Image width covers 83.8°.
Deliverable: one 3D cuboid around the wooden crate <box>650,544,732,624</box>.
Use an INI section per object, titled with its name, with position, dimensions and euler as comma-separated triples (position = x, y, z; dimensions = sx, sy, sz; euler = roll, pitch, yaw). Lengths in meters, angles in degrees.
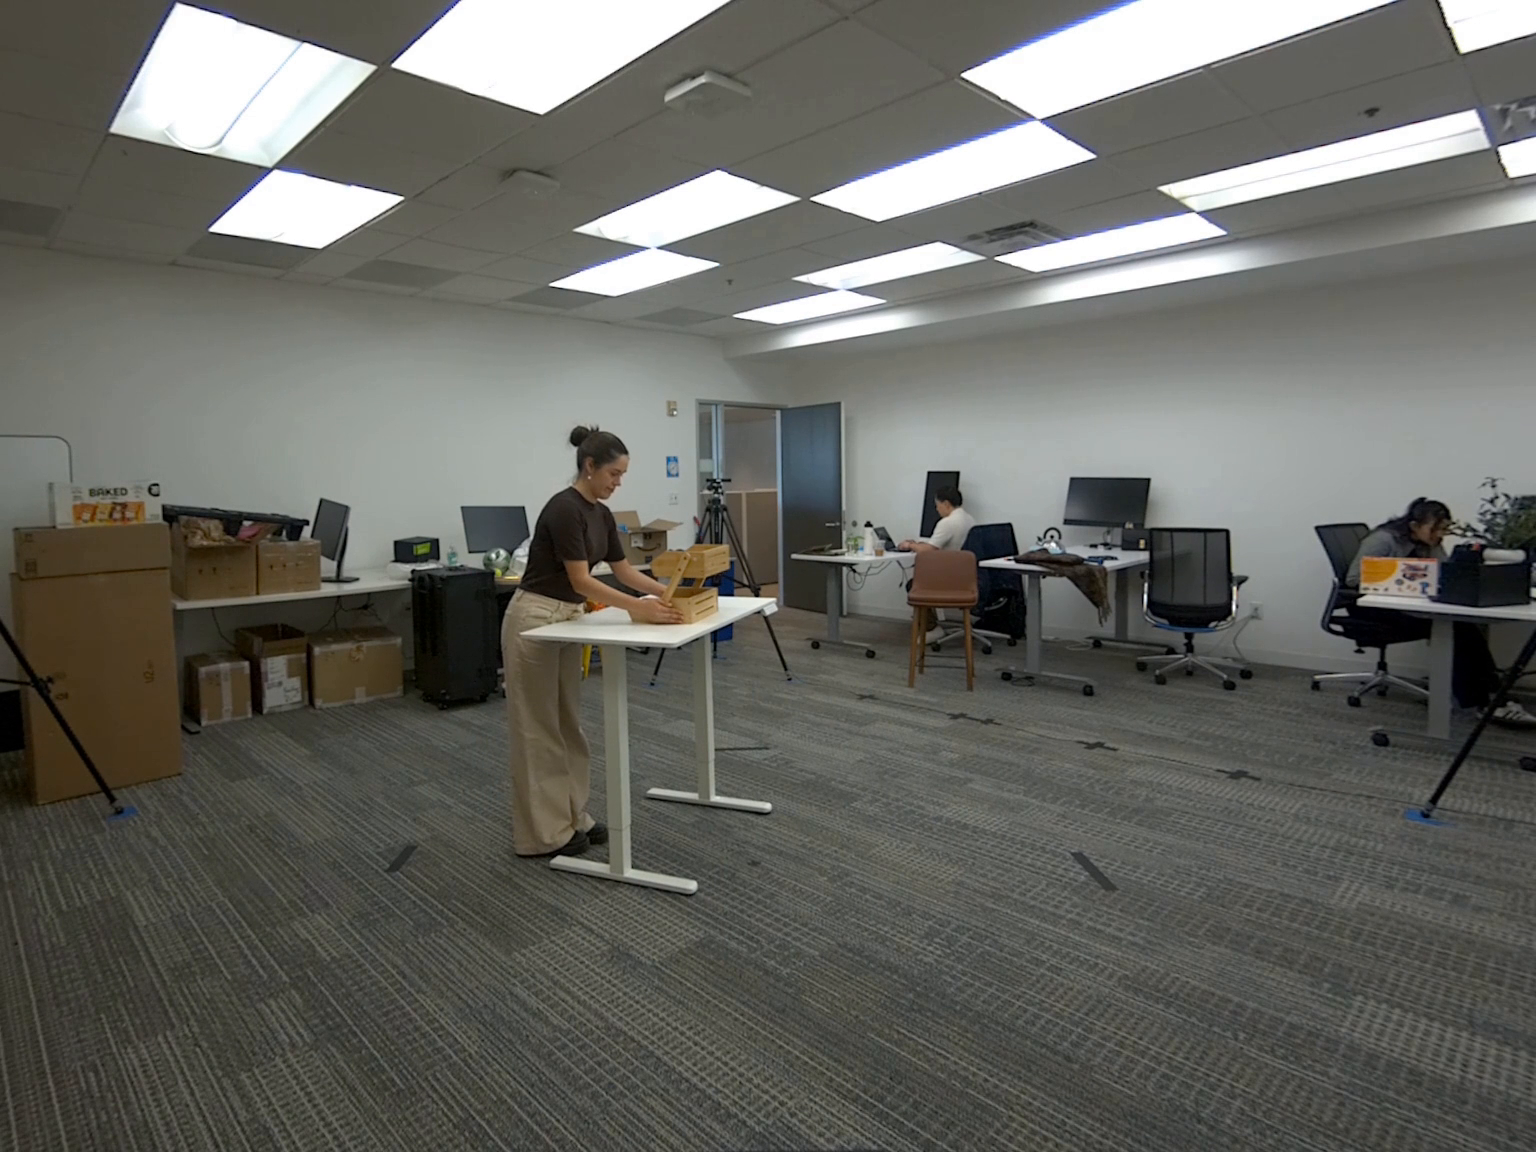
[wooden crate]
position = -0.337, 0.027, 3.208
dimensions = 0.307, 0.272, 0.320
euler = -2, 5, 17
